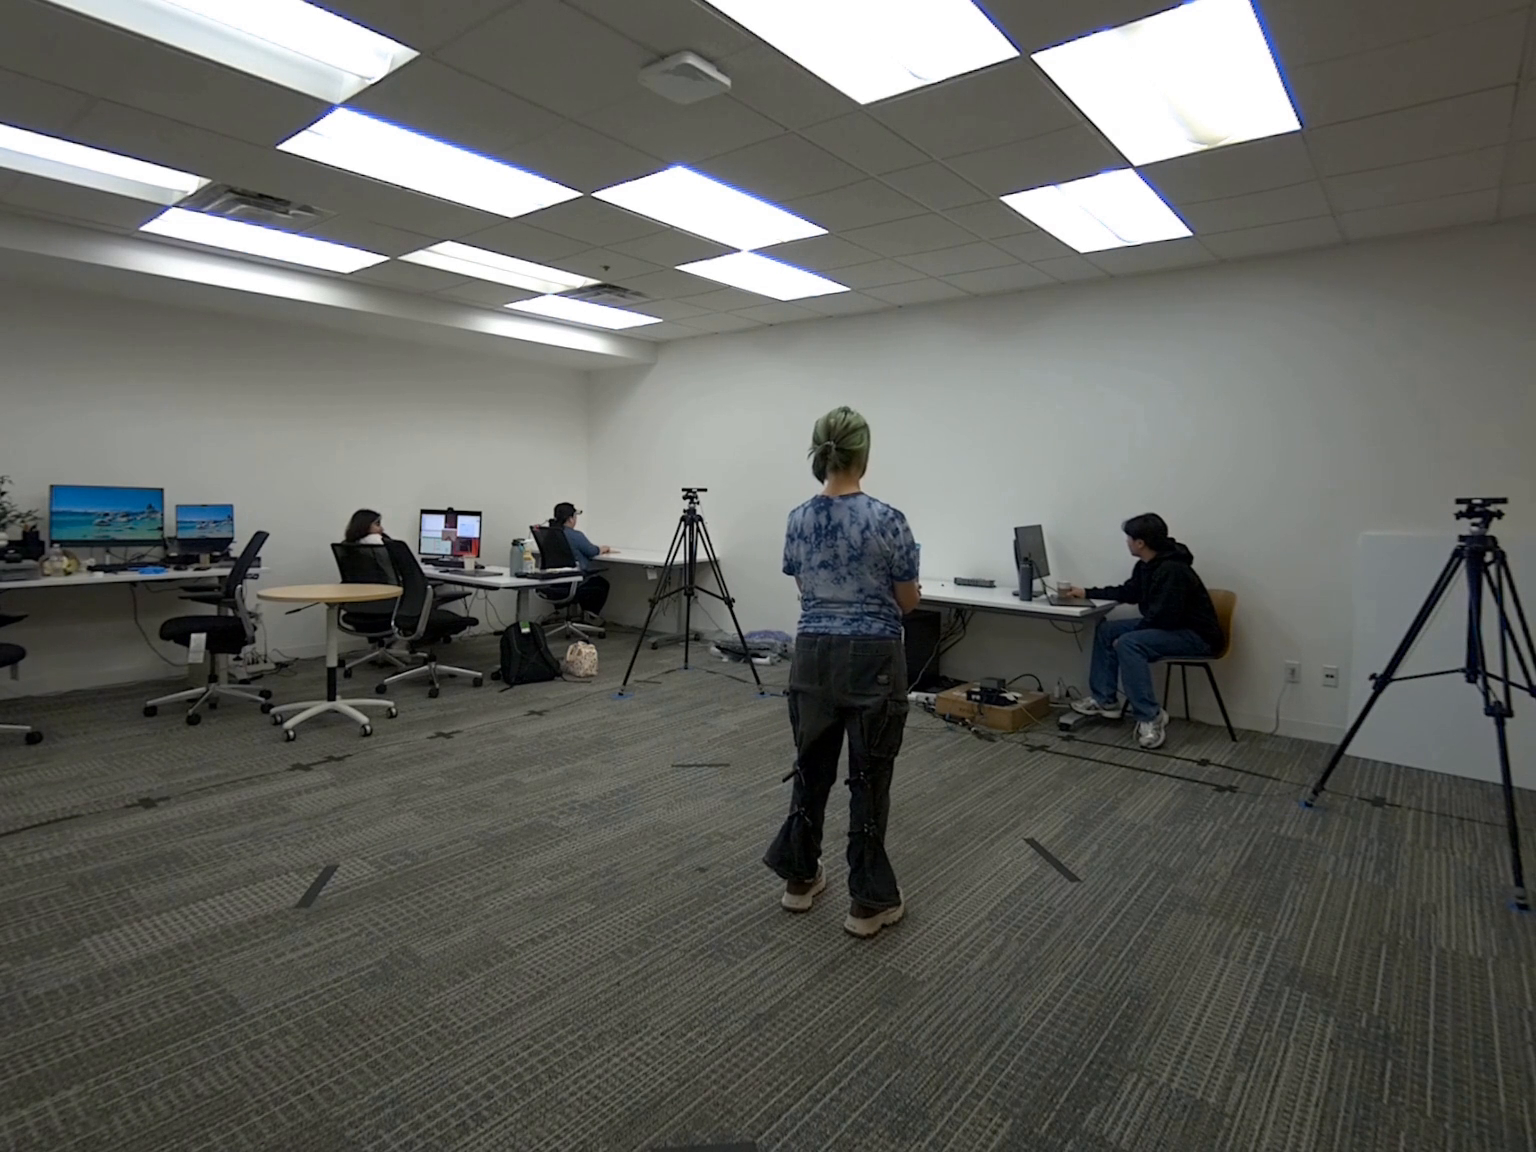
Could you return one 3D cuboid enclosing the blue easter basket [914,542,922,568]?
[{"bbox_3d":[0.439,-0.029,3.095,0.244,0.154,0.246,-7,12,-1],"label":"blue easter basket"}]
